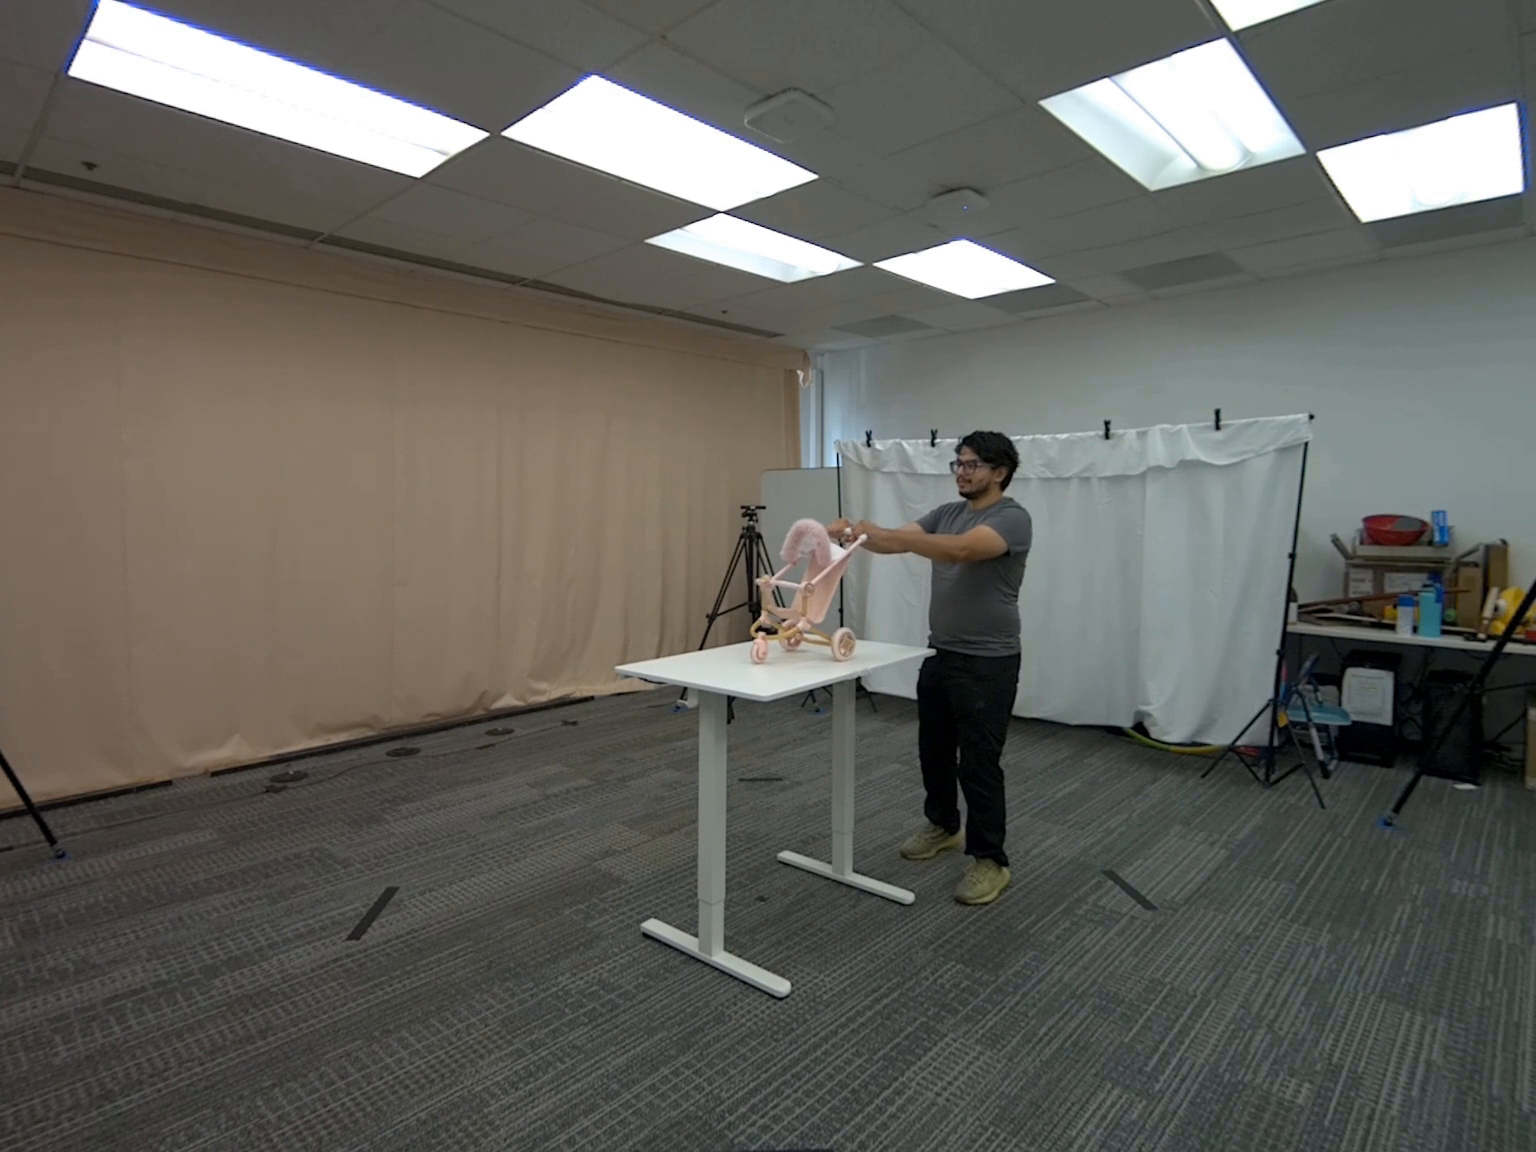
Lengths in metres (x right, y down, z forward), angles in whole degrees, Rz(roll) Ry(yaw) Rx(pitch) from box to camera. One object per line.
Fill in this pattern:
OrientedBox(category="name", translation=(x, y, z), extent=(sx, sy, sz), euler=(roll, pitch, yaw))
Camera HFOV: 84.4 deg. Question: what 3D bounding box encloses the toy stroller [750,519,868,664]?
OrientedBox(category="toy stroller", translation=(0.126, 0.052, 2.814), extent=(0.330, 0.536, 0.290), euler=(17, -7, -35))
